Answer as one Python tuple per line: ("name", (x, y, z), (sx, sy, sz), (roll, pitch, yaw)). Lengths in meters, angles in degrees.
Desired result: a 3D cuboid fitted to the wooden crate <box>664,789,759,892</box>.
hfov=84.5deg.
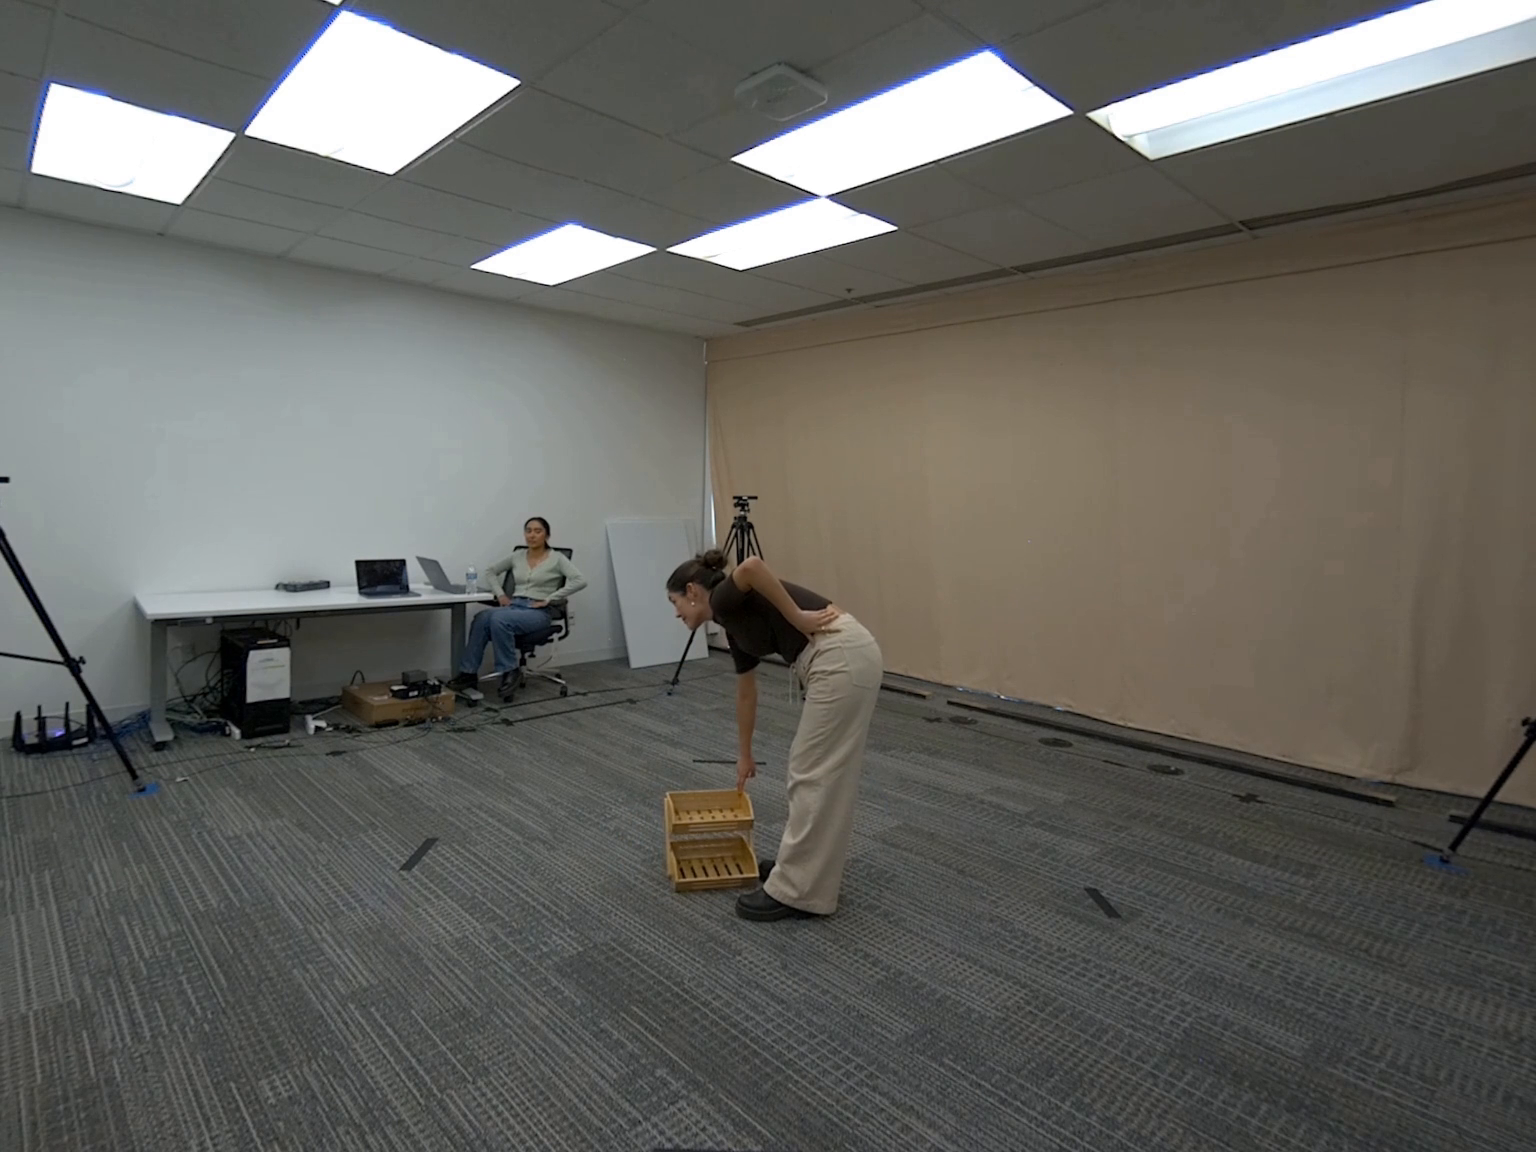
("wooden crate", (-0.219, 0.968, 3.105), (0.321, 0.272, 0.306), (1, 4, -13))
